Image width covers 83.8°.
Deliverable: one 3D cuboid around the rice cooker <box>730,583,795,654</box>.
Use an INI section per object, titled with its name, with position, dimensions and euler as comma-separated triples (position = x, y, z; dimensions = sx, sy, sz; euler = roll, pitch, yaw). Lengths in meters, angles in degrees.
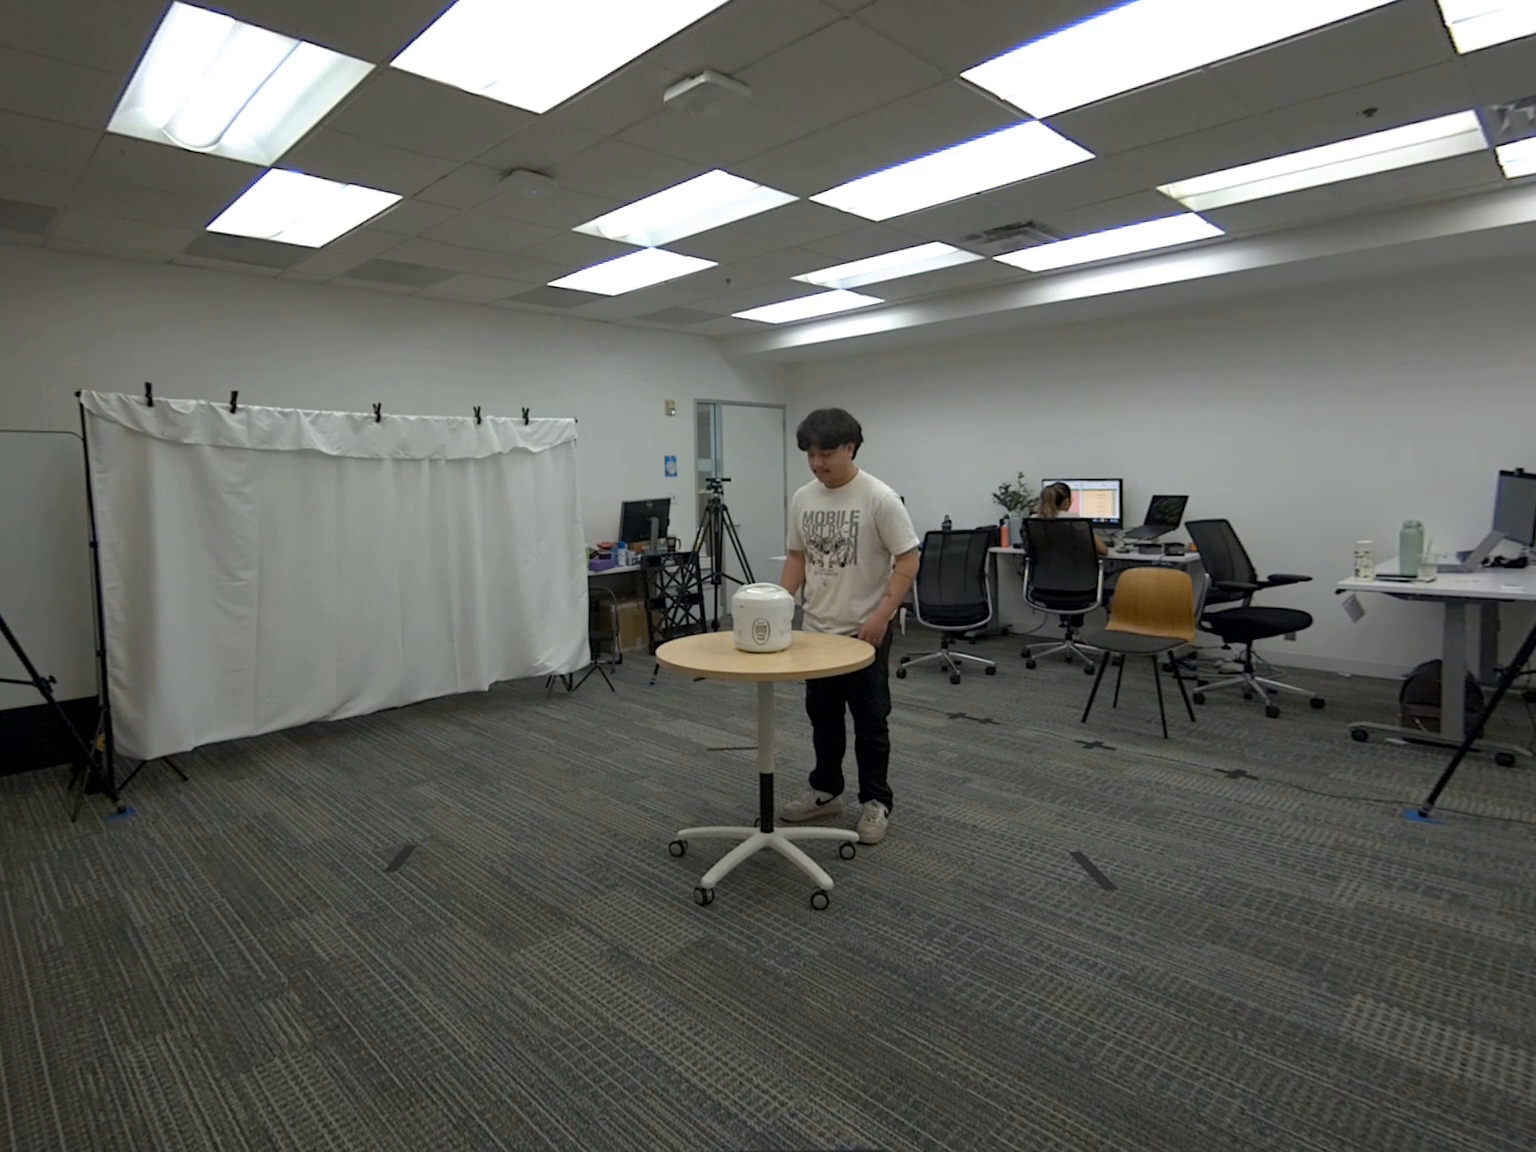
[rice cooker]
position = -0.015, 0.138, 2.997
dimensions = 0.221, 0.232, 0.217
euler = -1, 5, 4
